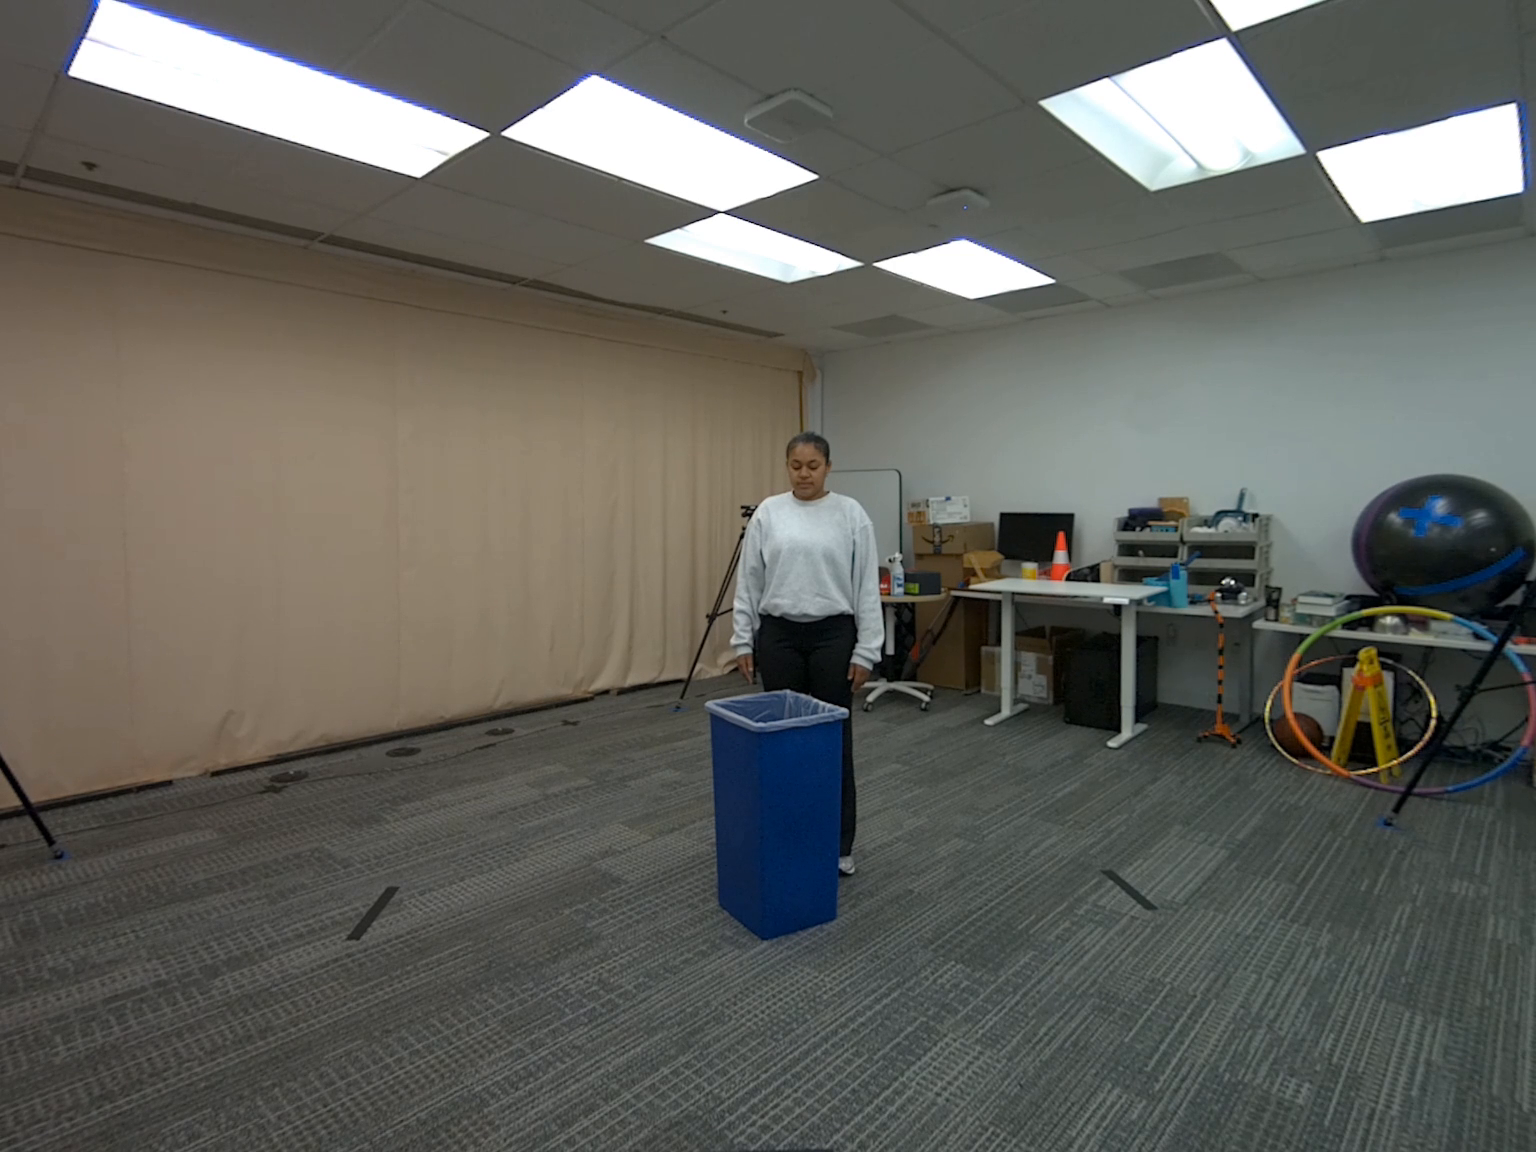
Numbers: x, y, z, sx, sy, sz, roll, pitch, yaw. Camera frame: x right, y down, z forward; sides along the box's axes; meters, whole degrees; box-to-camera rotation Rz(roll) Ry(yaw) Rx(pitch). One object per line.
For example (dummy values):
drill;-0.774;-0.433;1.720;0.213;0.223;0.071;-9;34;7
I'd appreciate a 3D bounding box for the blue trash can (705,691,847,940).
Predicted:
blue trash can;0.019;0.796;2.876;0.367;0.711;0.386;-3;5;-35
